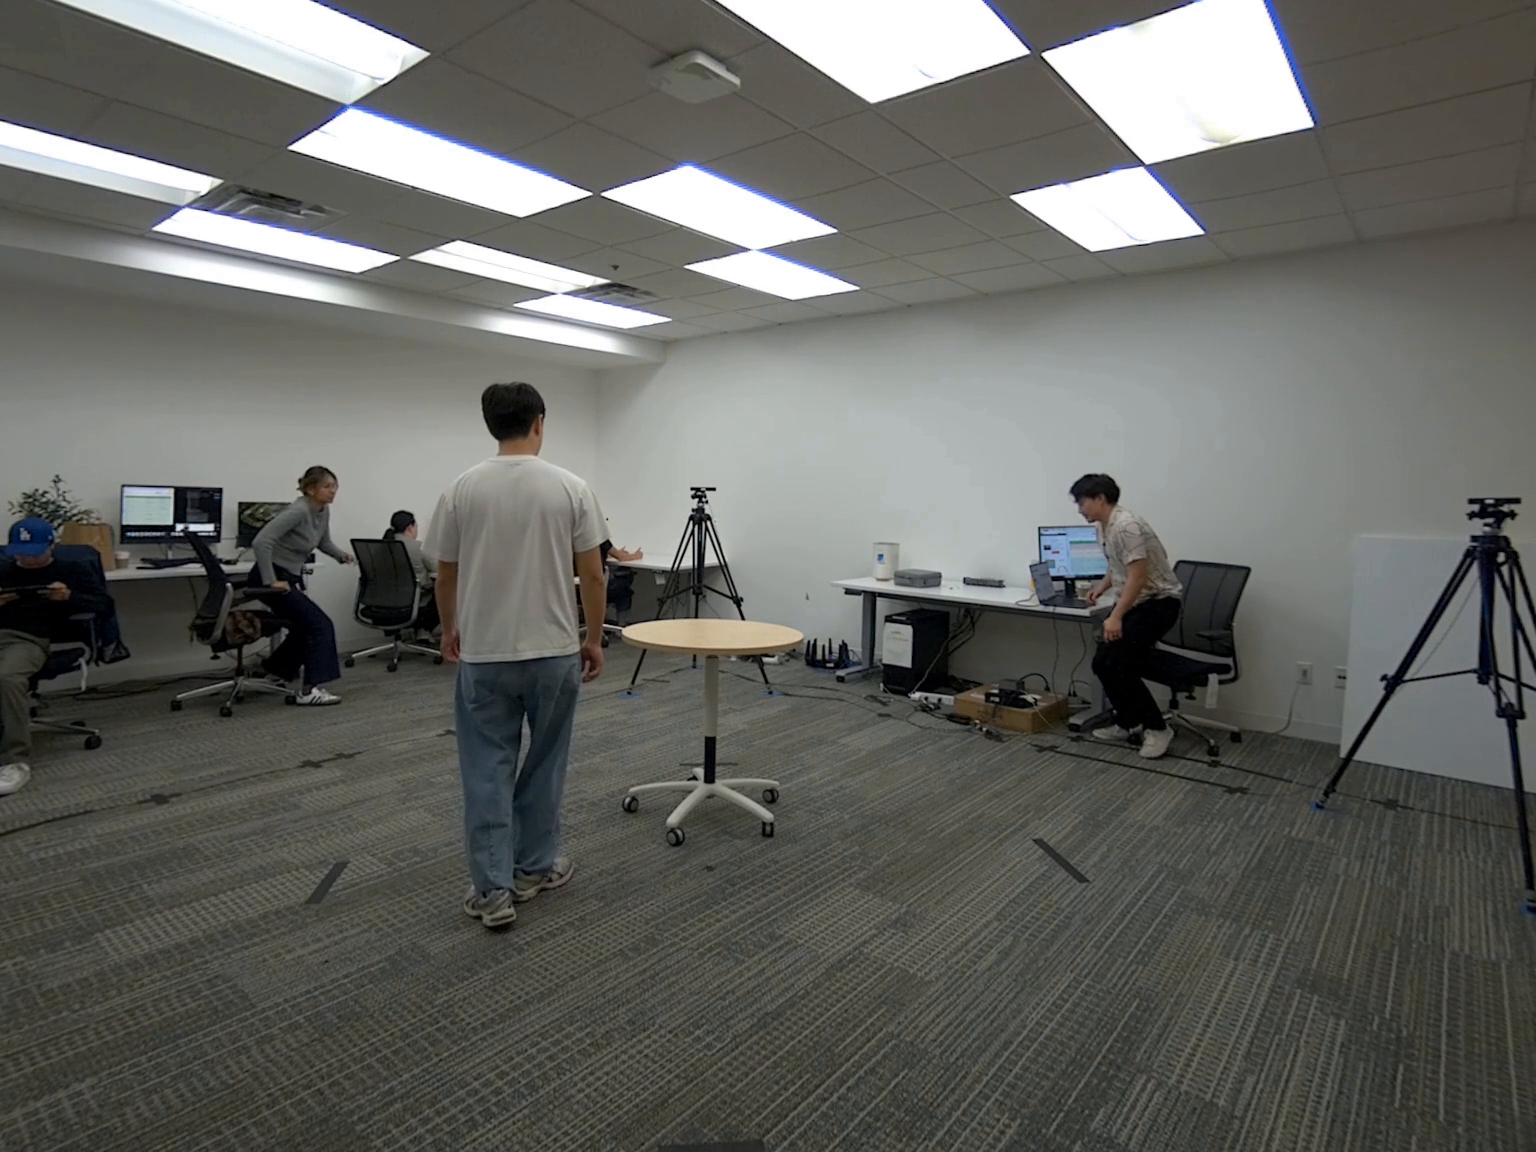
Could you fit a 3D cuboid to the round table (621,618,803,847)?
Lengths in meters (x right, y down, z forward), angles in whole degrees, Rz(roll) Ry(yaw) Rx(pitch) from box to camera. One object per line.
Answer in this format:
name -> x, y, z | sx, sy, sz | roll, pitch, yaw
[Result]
round table -> -0.241, 0.624, 3.612 | 0.784, 0.784, 0.789 | 1, 4, -2
